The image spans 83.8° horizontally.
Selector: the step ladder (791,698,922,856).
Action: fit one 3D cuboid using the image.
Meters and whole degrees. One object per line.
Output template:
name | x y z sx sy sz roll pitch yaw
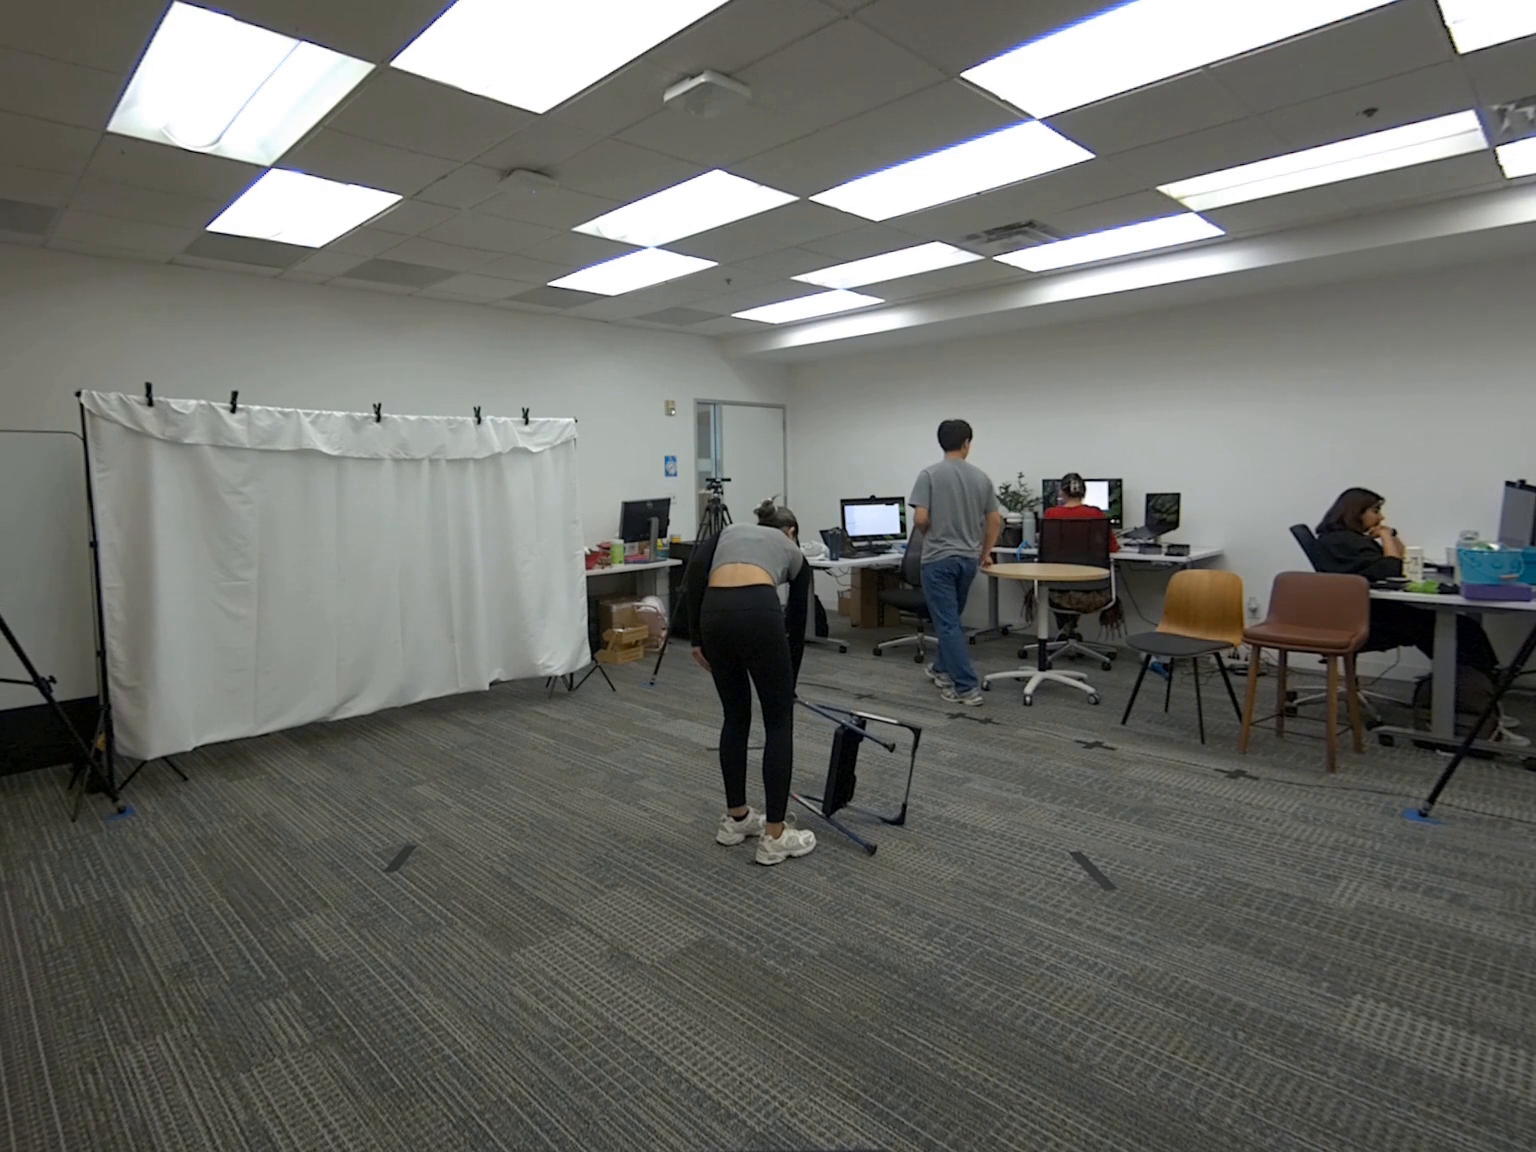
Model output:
step ladder | 0.250 0.744 3.417 0.625 0.428 0.341 14 9 30
